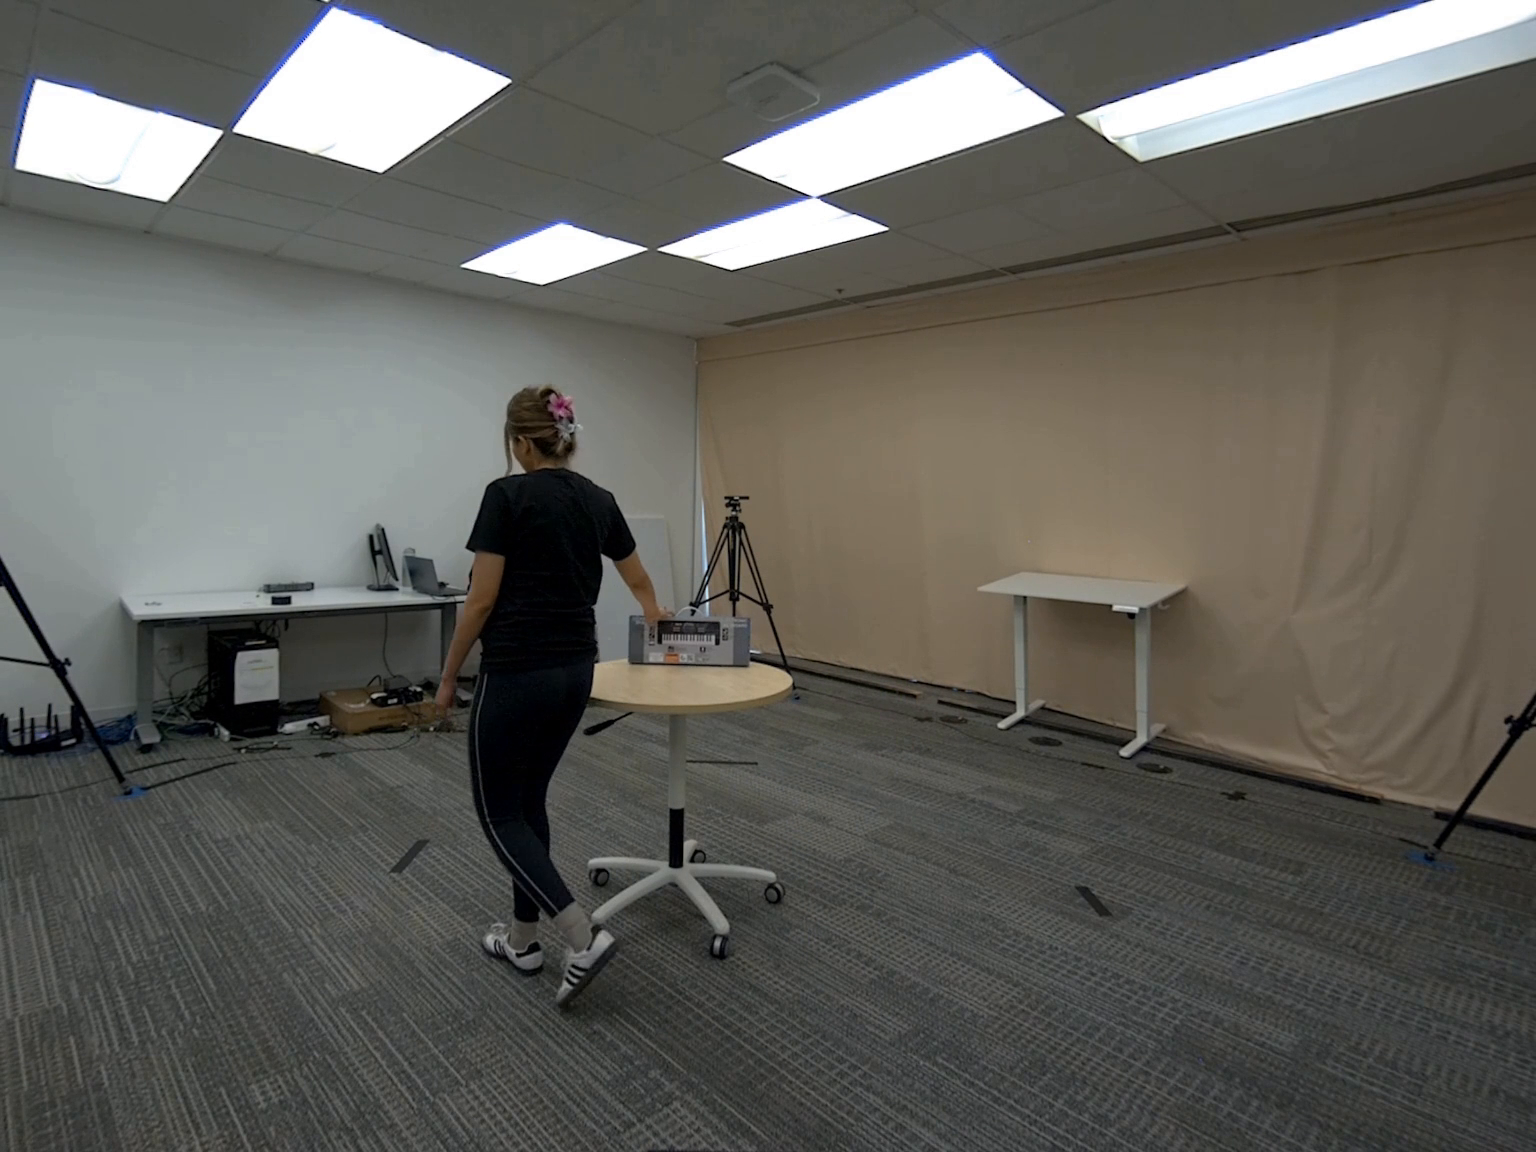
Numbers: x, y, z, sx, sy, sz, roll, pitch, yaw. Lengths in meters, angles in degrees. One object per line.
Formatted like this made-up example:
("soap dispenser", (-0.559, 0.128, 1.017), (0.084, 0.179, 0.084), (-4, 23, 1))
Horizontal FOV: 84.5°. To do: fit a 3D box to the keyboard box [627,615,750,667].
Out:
("keyboard box", (-0.294, 0.233, 3.050), (0.438, 0.176, 0.059), (1, -1, 4))
